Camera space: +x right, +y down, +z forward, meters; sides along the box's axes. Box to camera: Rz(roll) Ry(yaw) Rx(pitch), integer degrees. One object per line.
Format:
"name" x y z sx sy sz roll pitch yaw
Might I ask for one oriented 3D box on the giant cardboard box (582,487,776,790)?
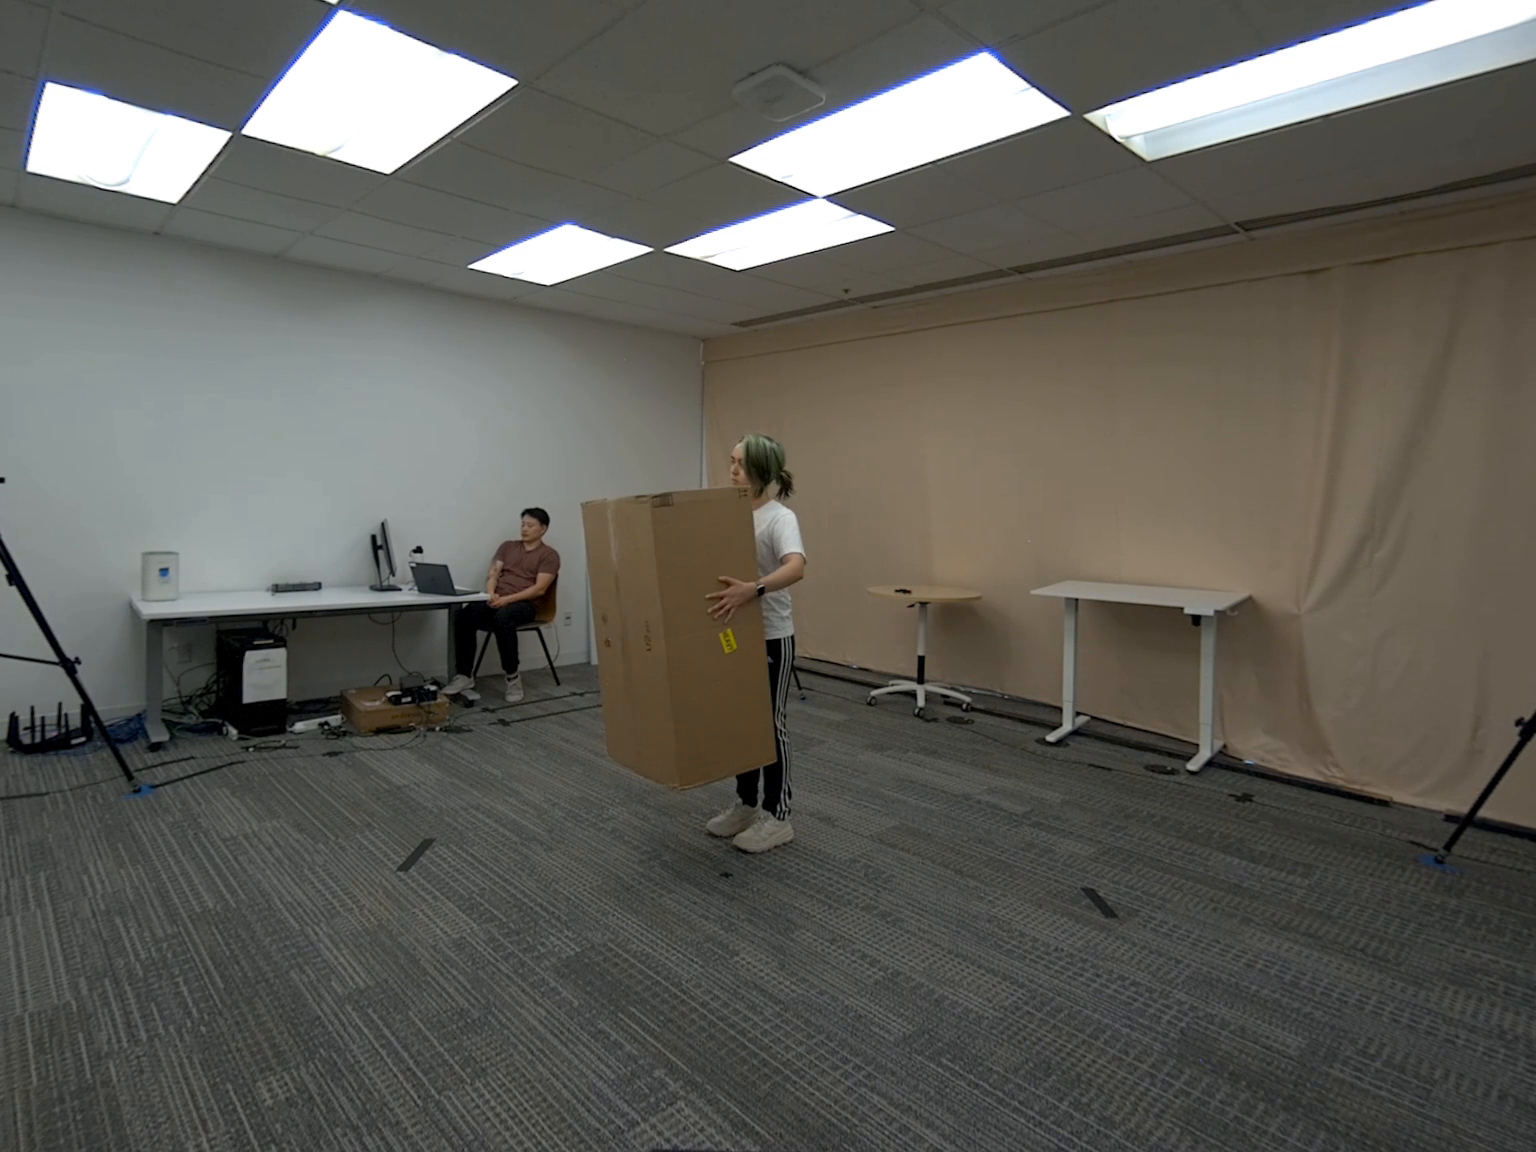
"giant cardboard box" -0.353 0.200 3.194 0.418 1.023 0.590 -7 4 -34
